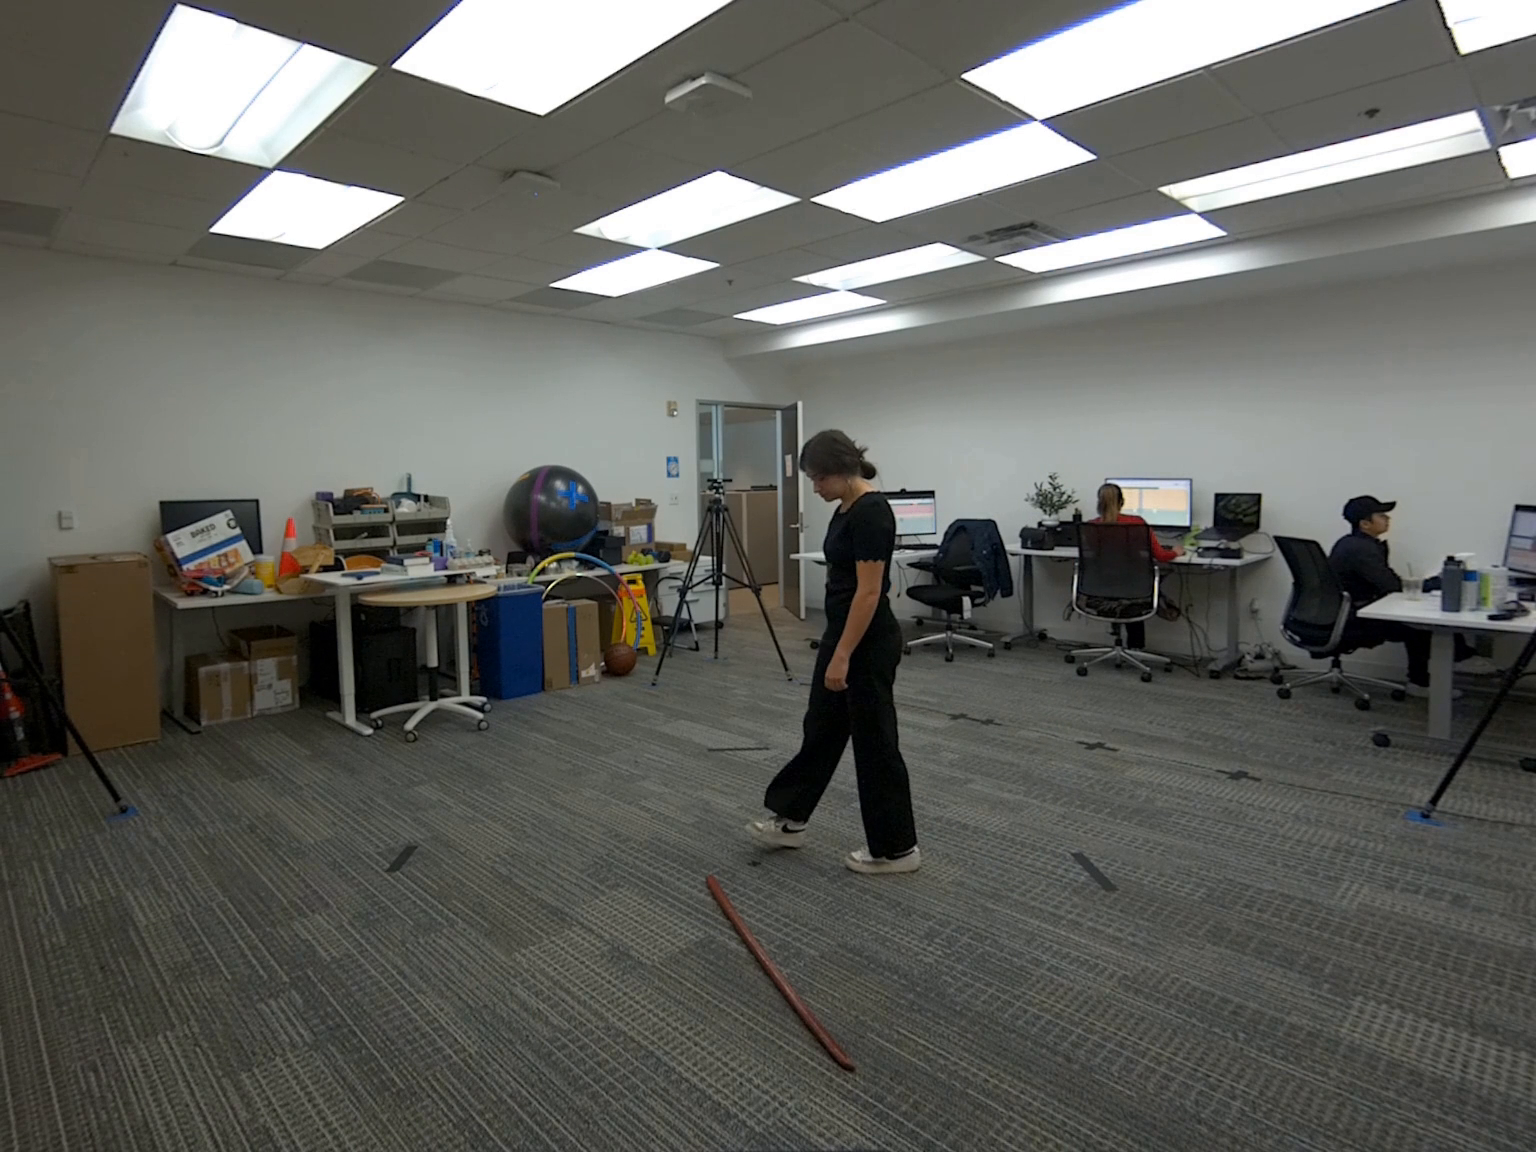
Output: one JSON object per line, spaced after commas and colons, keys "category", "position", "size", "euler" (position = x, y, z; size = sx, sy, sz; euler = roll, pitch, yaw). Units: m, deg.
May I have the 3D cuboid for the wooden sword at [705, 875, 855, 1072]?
{"category": "wooden sword", "position": [-0.012, 1.106, 2.485], "size": [0.023, 0.051, 1.048], "euler": [21, -2, -22]}
